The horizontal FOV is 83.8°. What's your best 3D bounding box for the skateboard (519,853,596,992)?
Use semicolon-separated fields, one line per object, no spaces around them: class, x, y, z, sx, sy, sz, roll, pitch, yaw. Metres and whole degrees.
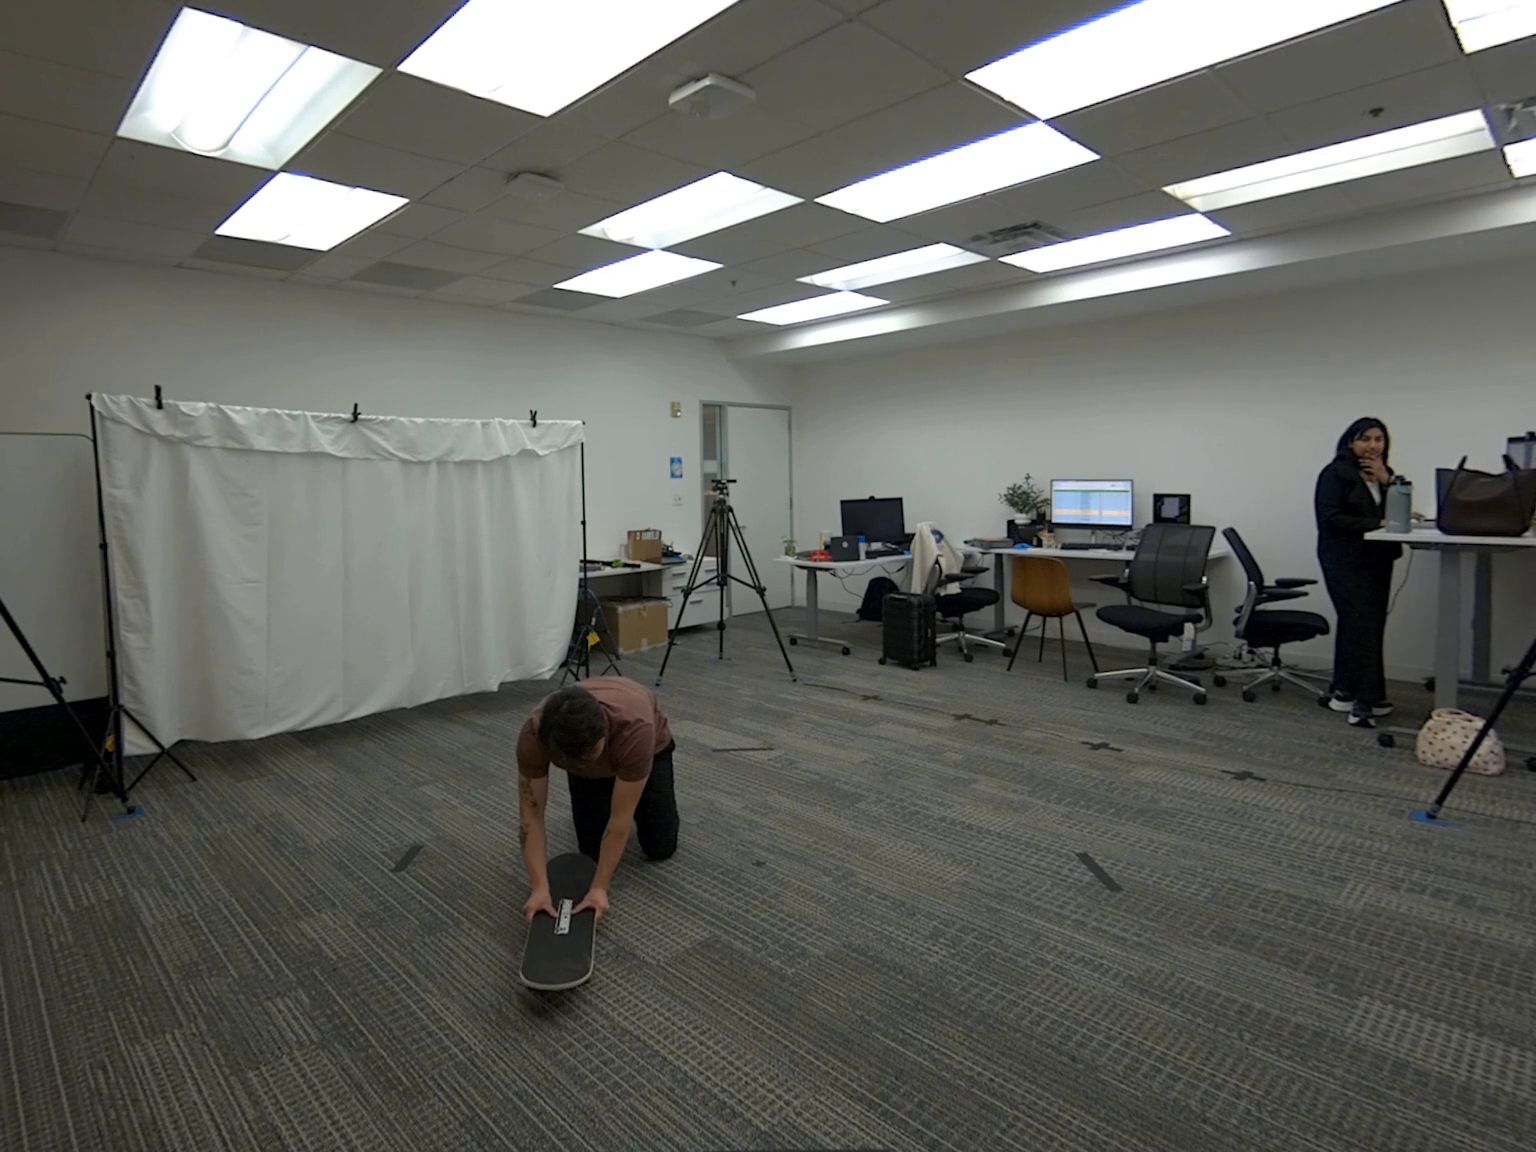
skateboard;-0.614;1.069;2.604;0.192;0.110;0.795;1;6;-9
